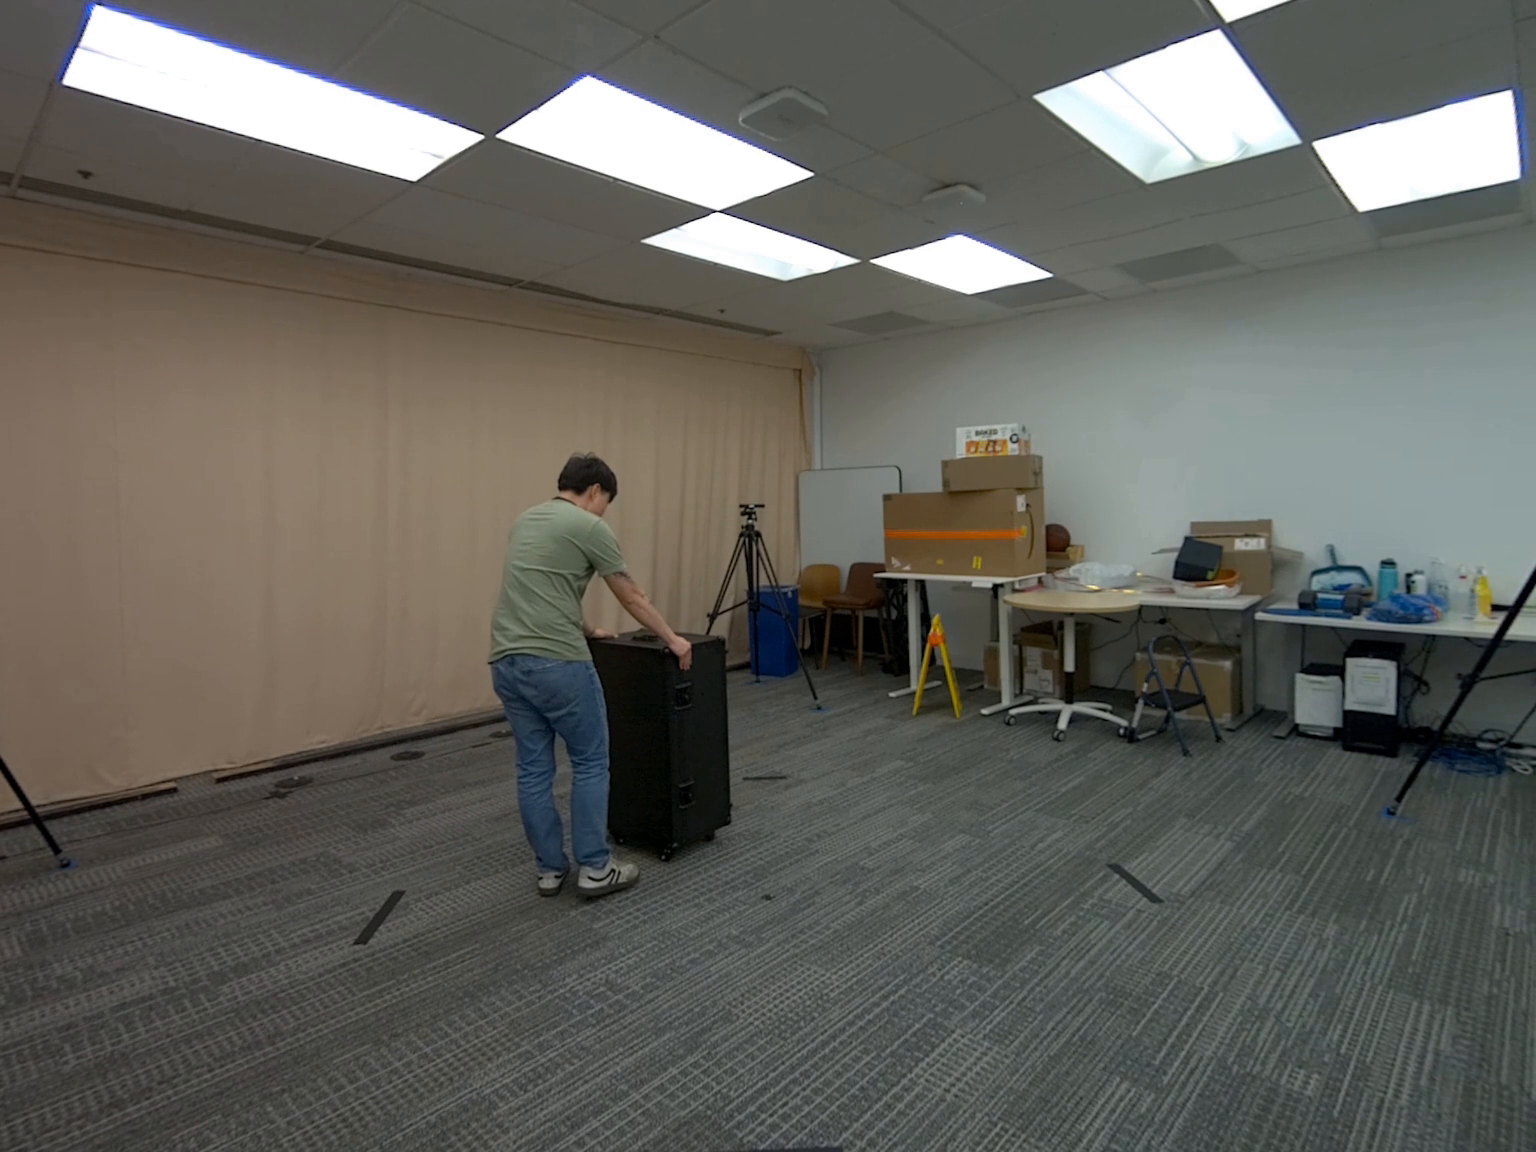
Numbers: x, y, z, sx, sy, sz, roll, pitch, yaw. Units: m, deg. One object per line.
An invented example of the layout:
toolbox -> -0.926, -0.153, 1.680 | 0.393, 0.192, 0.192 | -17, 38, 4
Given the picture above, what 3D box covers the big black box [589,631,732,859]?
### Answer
big black box -> -0.452, 0.681, 3.511 | 0.538, 0.860, 0.384 | 1, 3, 40
